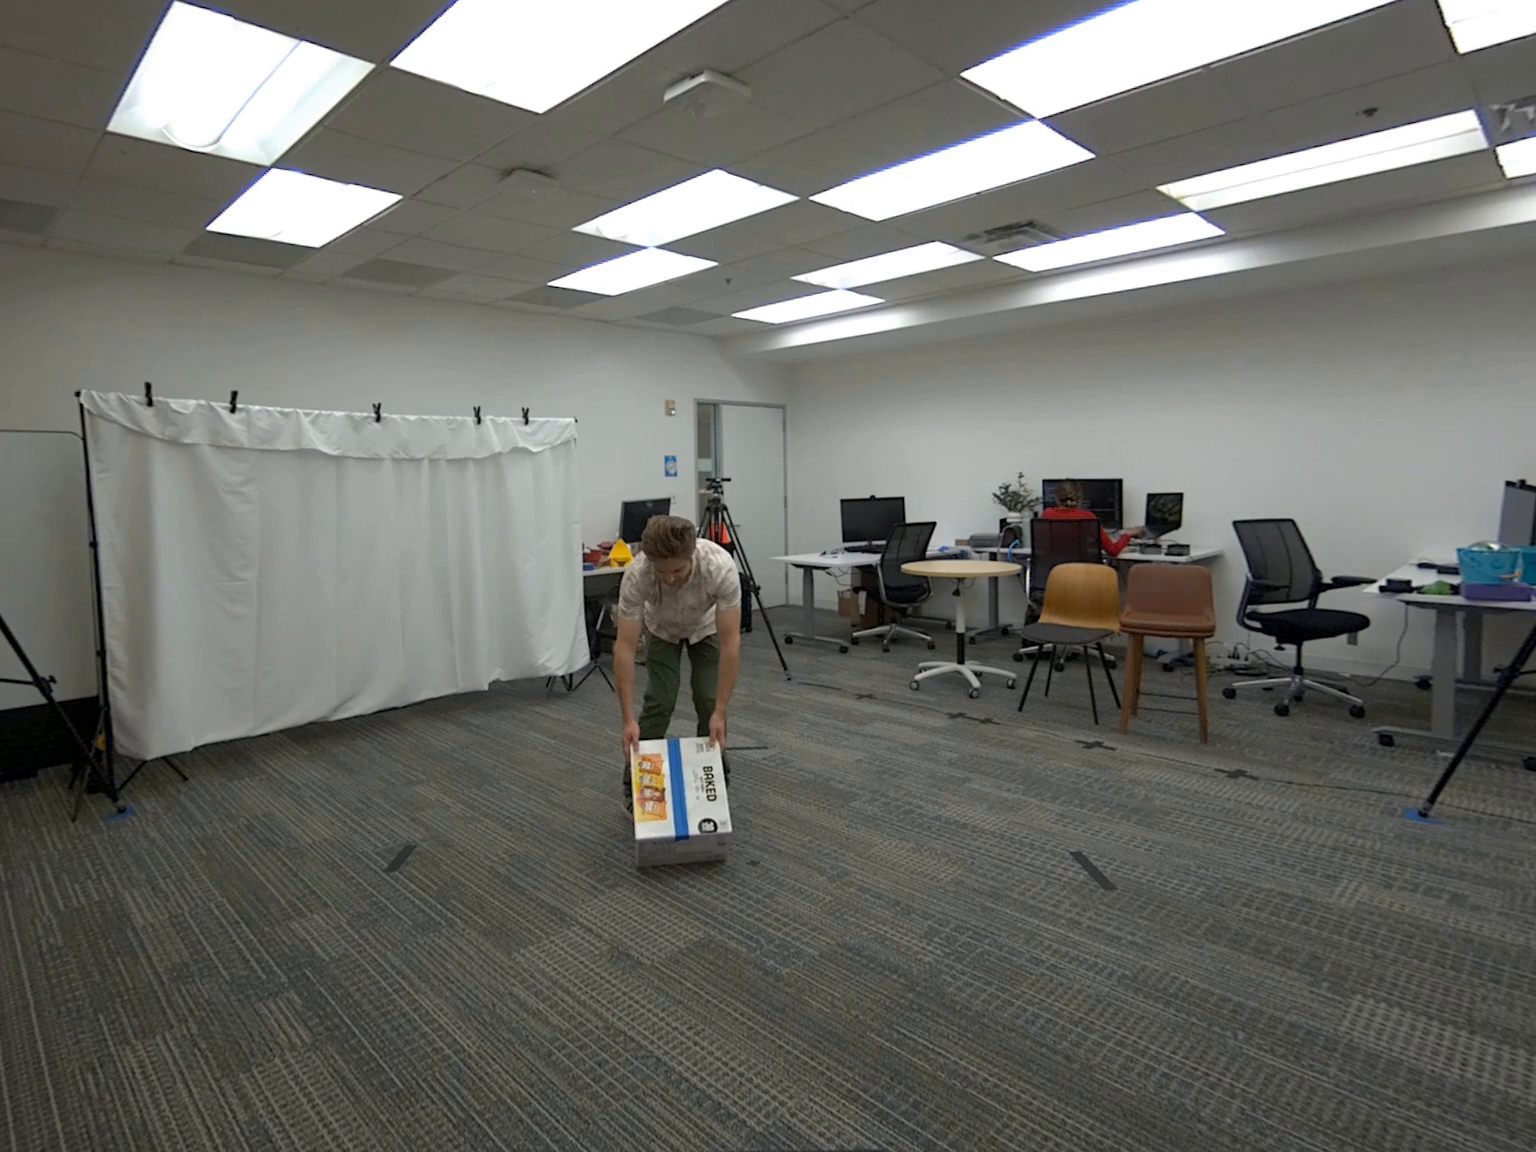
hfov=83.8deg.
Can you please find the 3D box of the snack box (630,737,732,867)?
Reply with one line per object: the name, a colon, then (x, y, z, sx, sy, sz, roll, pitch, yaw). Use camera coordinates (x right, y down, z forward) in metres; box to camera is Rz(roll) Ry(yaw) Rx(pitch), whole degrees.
snack box: (-0.337, 0.837, 3.189, 0.338, 0.201, 0.418, -3, 43, -9)
